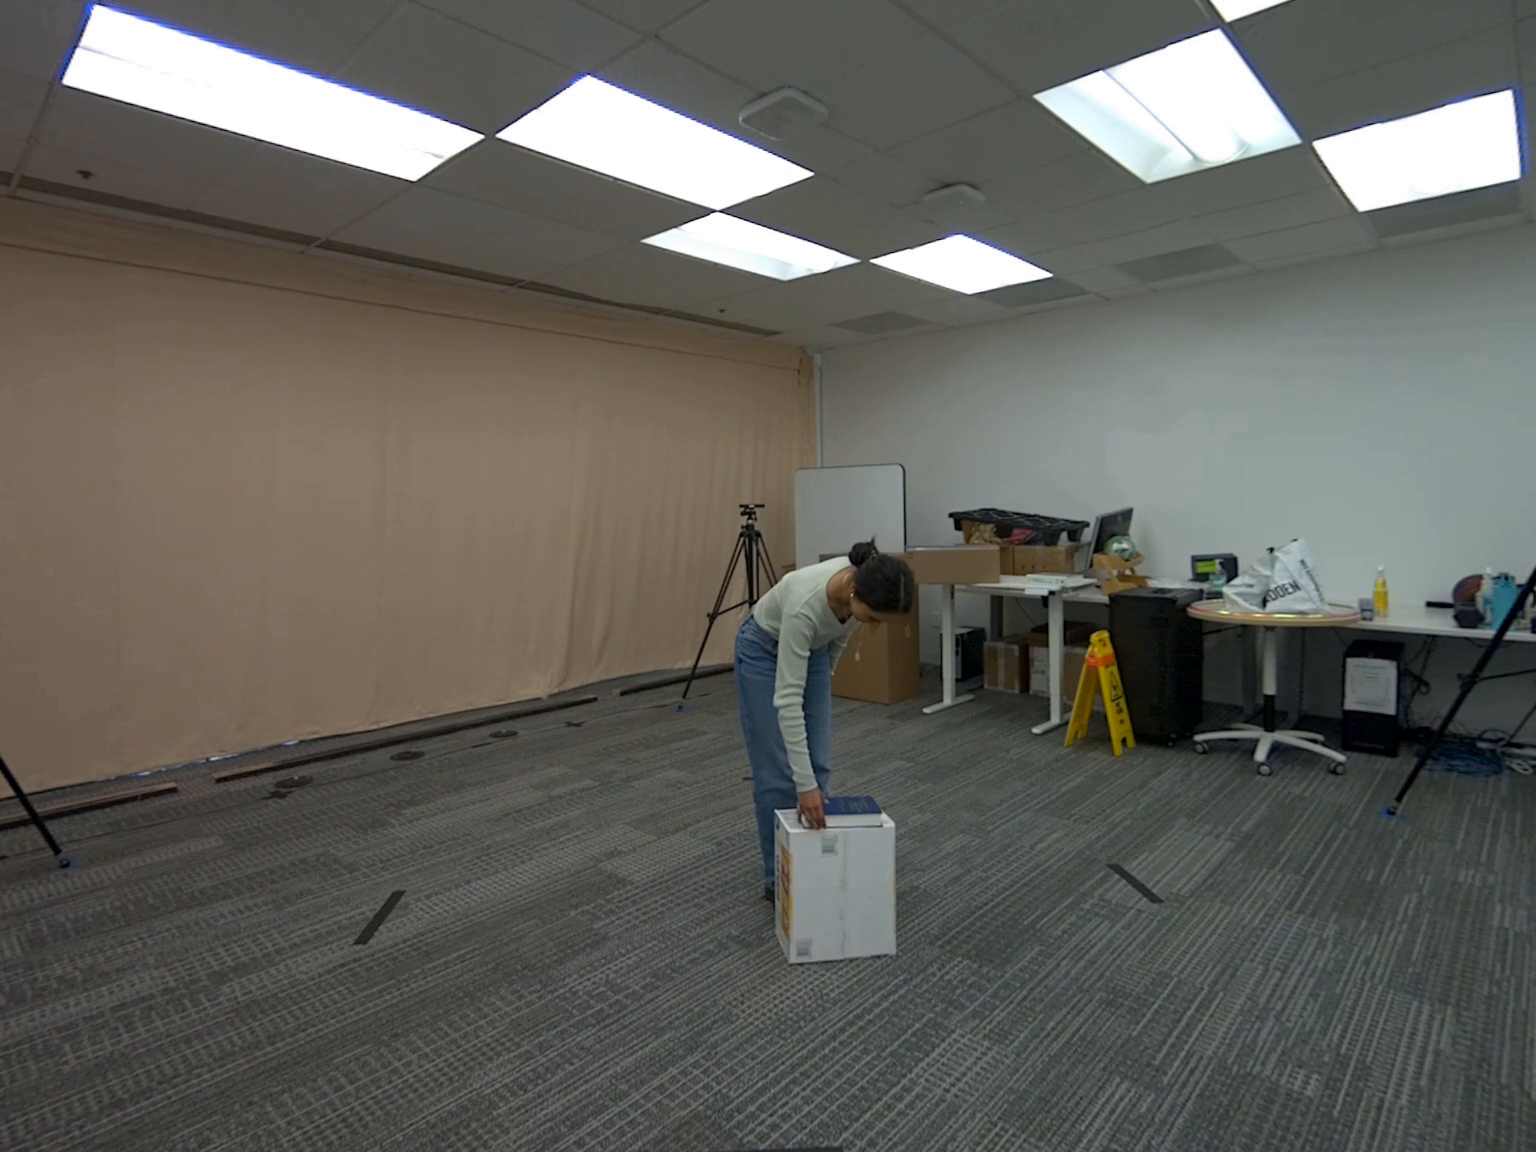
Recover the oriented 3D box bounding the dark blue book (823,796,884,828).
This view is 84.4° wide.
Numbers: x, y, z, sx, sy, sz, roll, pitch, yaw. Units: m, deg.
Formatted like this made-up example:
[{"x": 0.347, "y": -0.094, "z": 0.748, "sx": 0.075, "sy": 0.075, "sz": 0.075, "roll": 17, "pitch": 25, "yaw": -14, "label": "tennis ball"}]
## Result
[{"x": 0.222, "y": 0.741, "z": 2.650, "sx": 0.245, "sy": 0.045, "sz": 0.164, "roll": -1, "pitch": 6, "yaw": -1, "label": "dark blue book"}]
